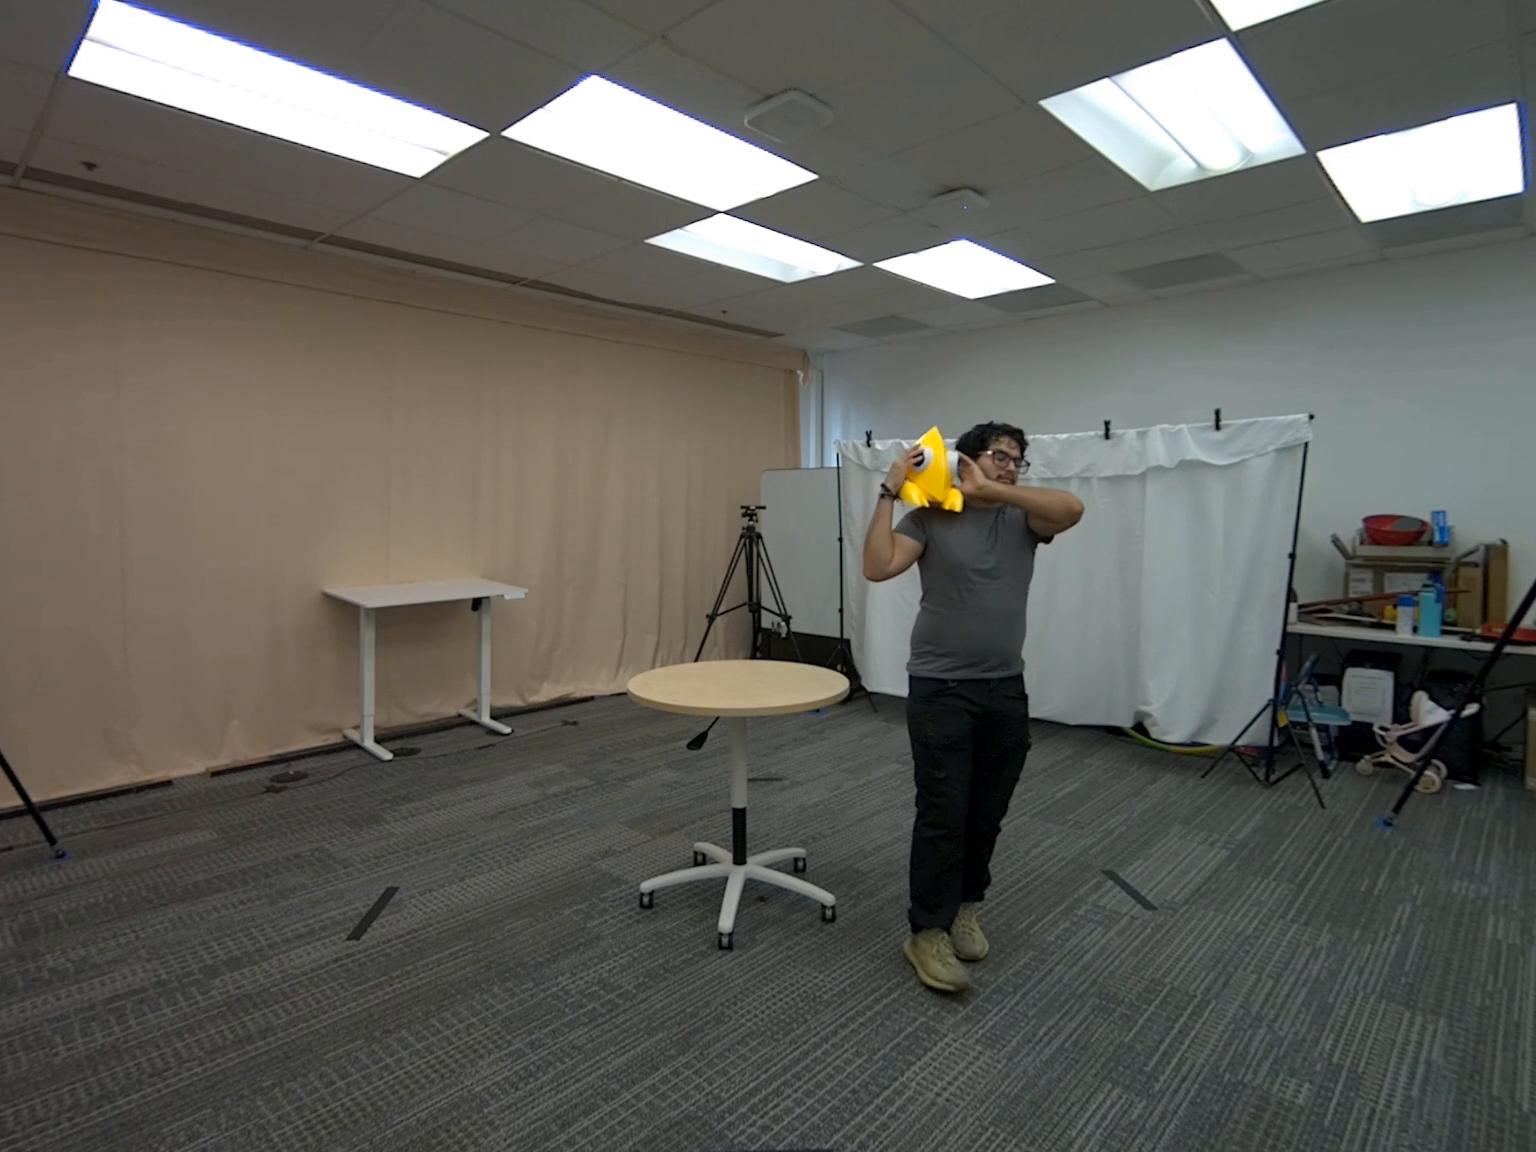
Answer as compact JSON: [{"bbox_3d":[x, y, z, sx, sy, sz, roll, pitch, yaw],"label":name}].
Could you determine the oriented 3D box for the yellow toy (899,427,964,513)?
[{"bbox_3d":[0.519,-0.332,2.561,0.202,0.229,0.197,8,13,-13],"label":"yellow toy"}]
